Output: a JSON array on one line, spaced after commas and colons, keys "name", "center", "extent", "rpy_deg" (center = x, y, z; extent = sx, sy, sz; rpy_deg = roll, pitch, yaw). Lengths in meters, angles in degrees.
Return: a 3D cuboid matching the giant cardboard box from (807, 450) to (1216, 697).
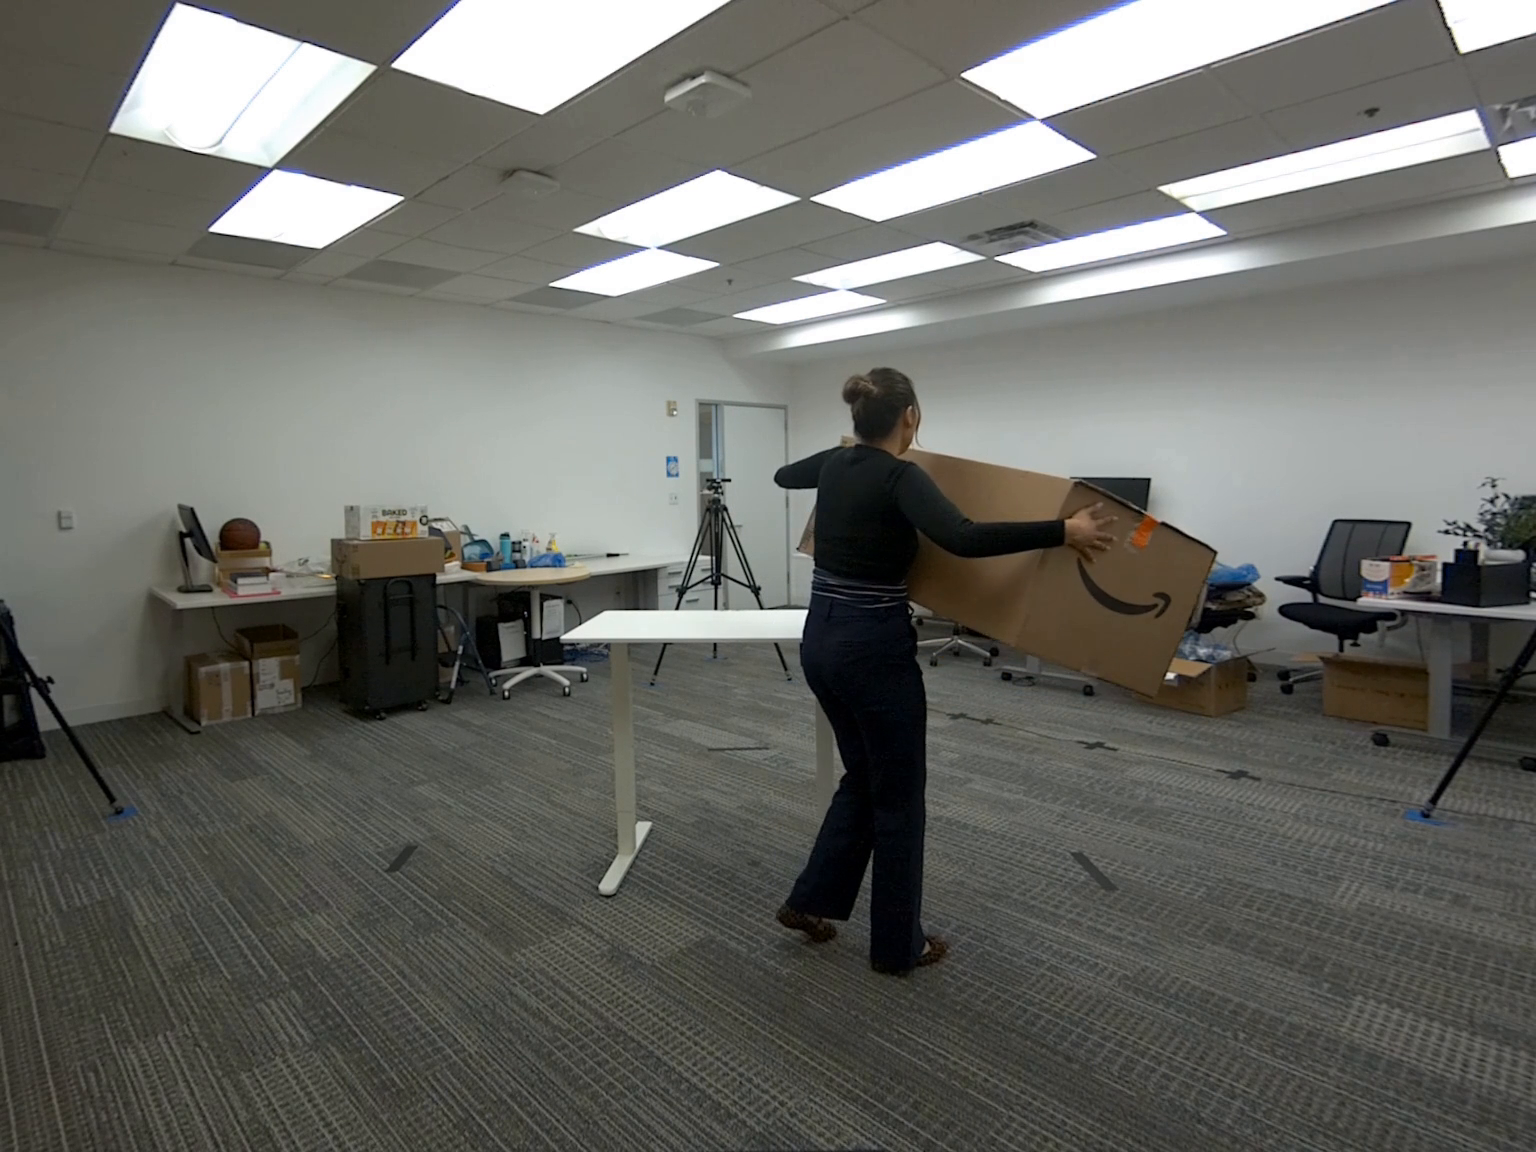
[{"name": "giant cardboard box", "center": [0.645, -0.074, 2.581], "extent": [0.560, 0.425, 1.060], "rpy_deg": [20, 5, -30]}]
